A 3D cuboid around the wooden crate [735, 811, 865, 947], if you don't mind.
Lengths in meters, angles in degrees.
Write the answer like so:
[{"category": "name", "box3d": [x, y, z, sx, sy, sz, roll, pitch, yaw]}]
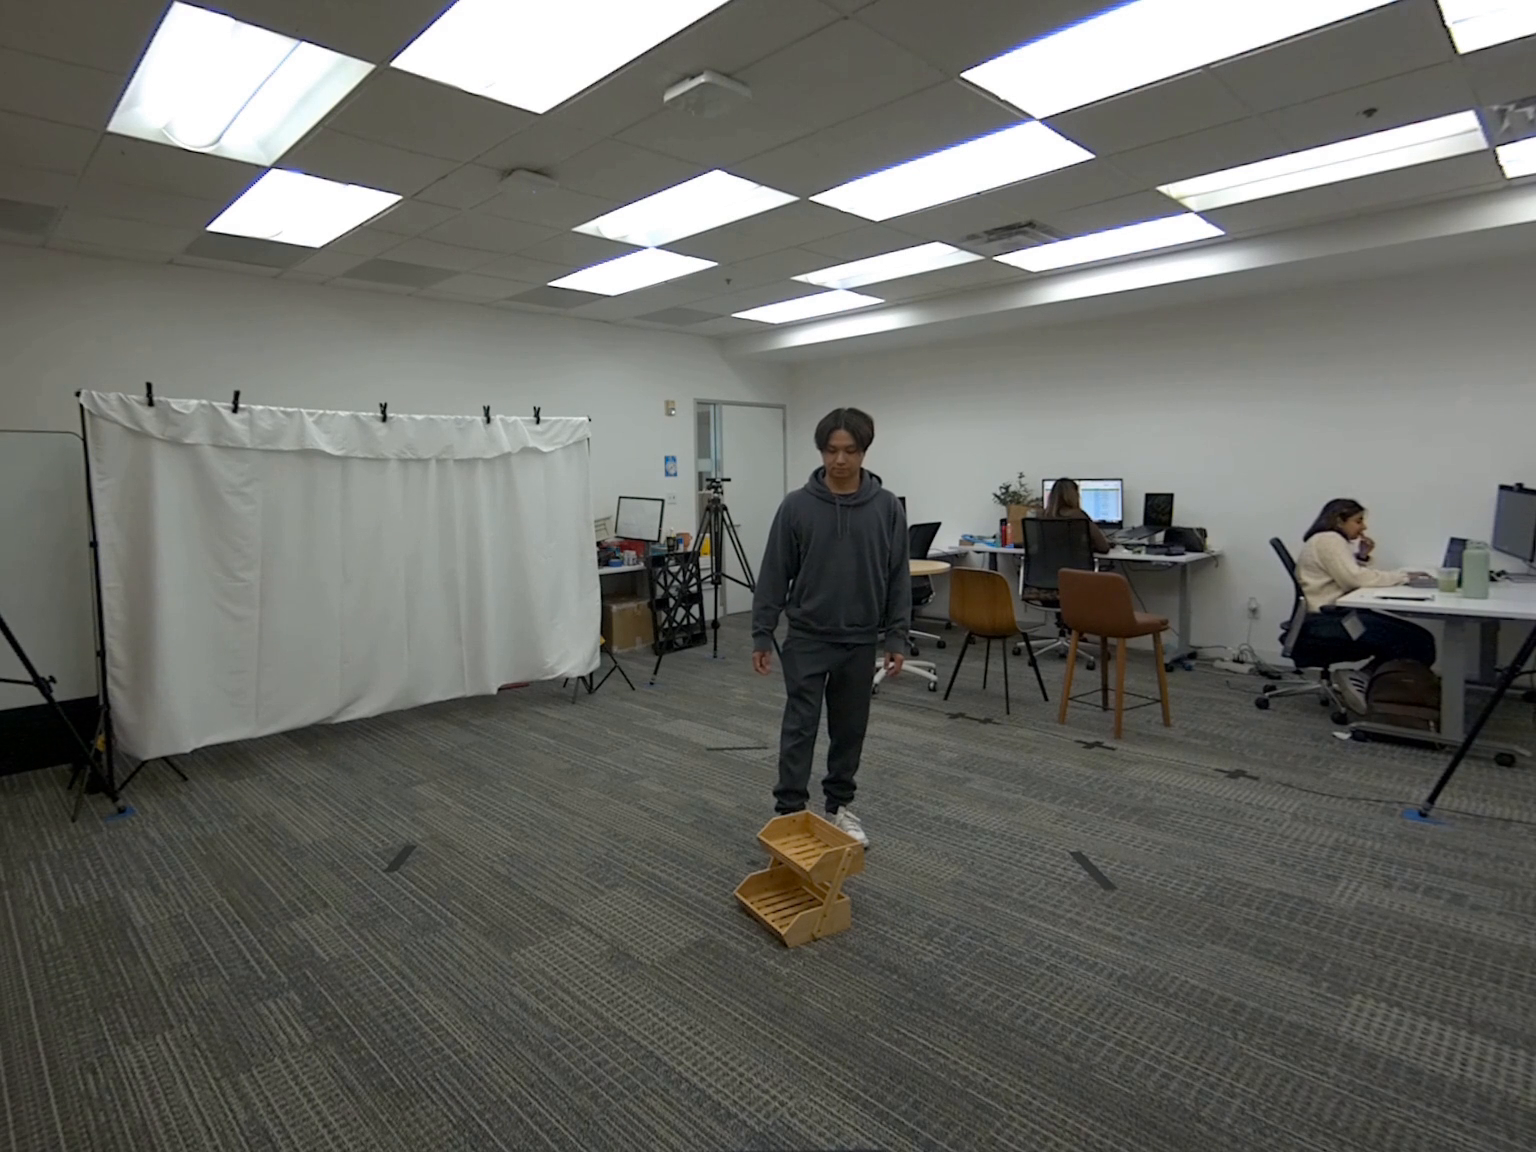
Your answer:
[{"category": "wooden crate", "box3d": [0.092, 0.953, 2.726, 0.295, 0.272, 0.334, -4, 6, -31]}]
